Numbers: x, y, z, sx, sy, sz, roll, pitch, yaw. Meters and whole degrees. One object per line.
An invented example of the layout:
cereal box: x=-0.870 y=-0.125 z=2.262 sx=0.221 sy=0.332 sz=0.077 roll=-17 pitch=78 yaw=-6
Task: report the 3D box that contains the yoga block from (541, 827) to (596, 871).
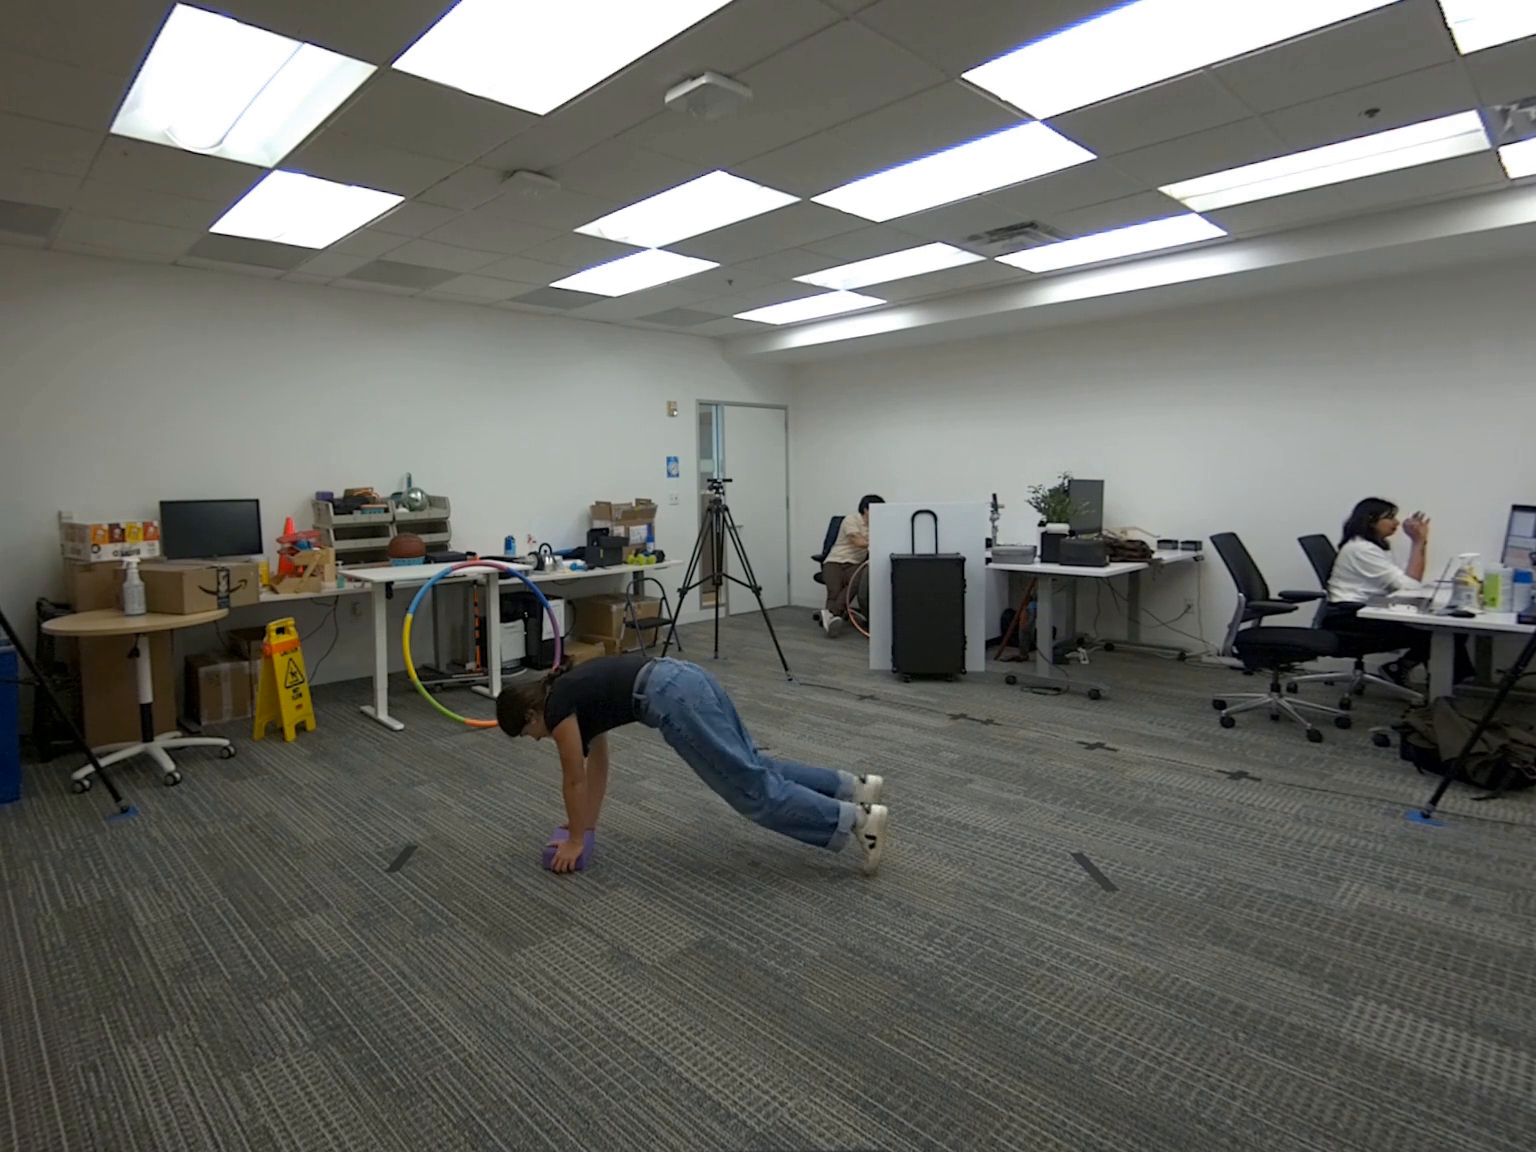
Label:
yoga block: x=-0.742 y=1.014 z=3.197 sx=0.149 sy=0.076 sz=0.230 roll=1 pitch=7 yaw=0
